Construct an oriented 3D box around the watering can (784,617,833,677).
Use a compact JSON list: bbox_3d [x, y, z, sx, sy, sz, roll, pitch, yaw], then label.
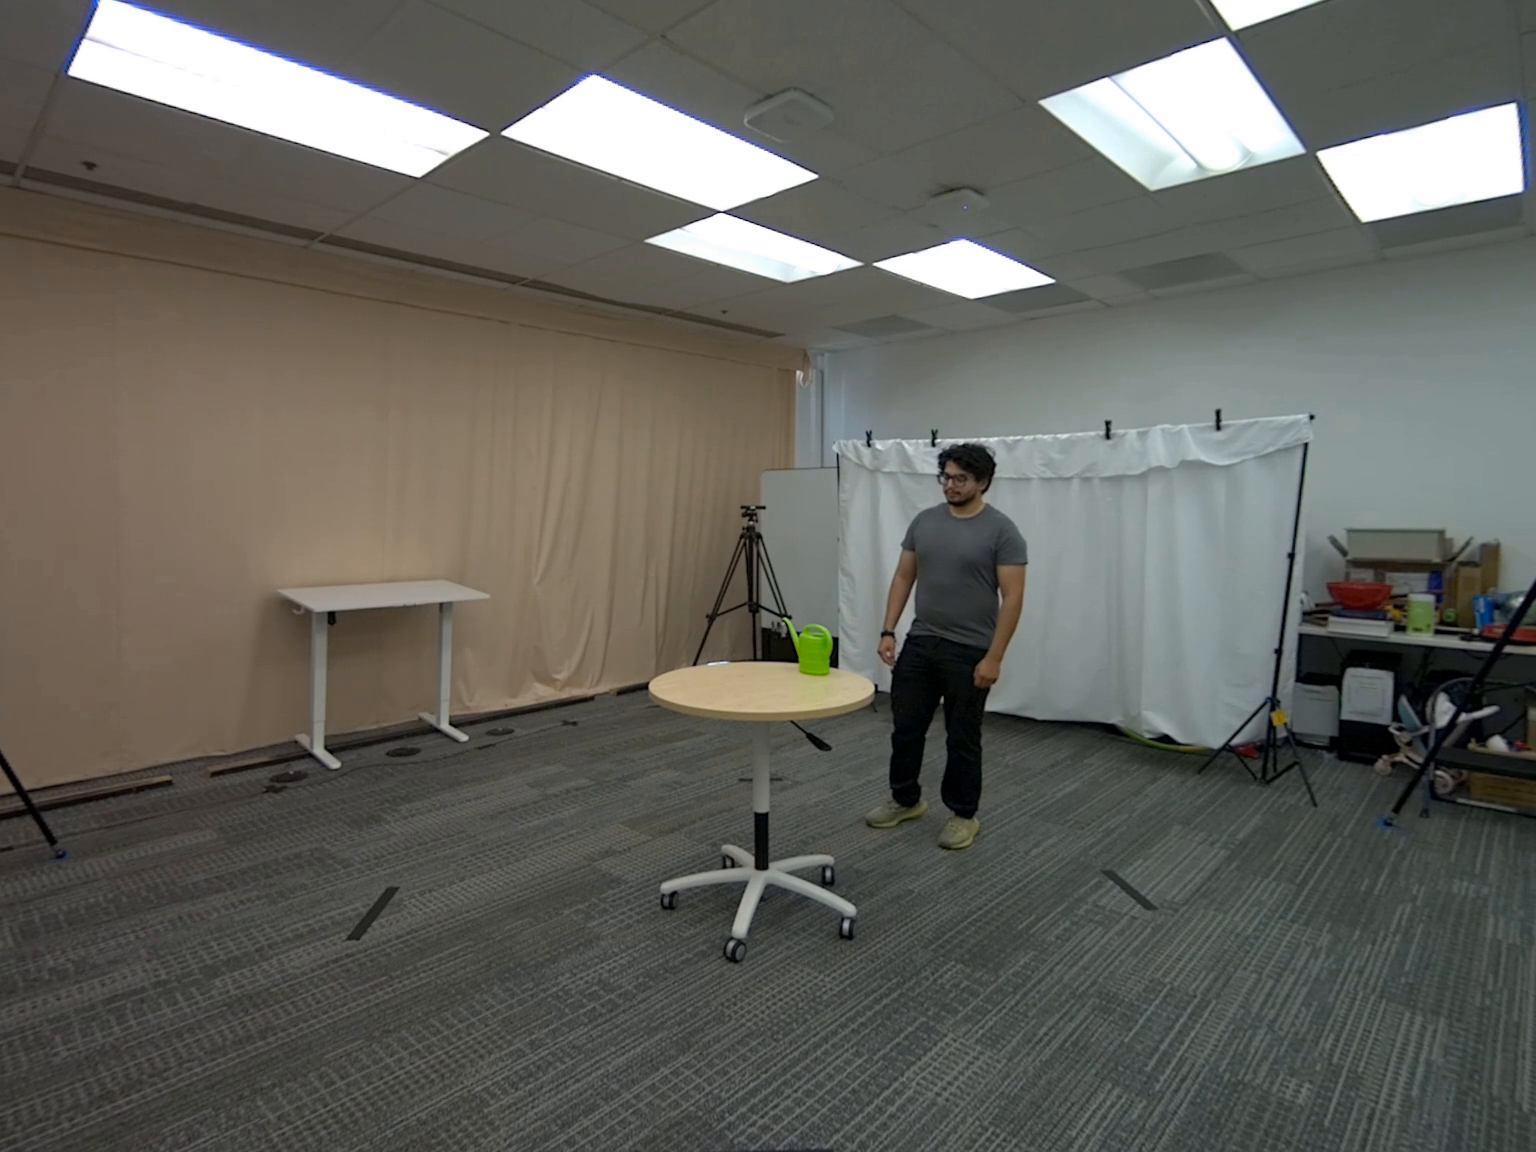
[{"bbox_3d":[0.151,0.260,3.098,0.096,0.176,0.284,-1,6,-20],"label":"watering can"}]
